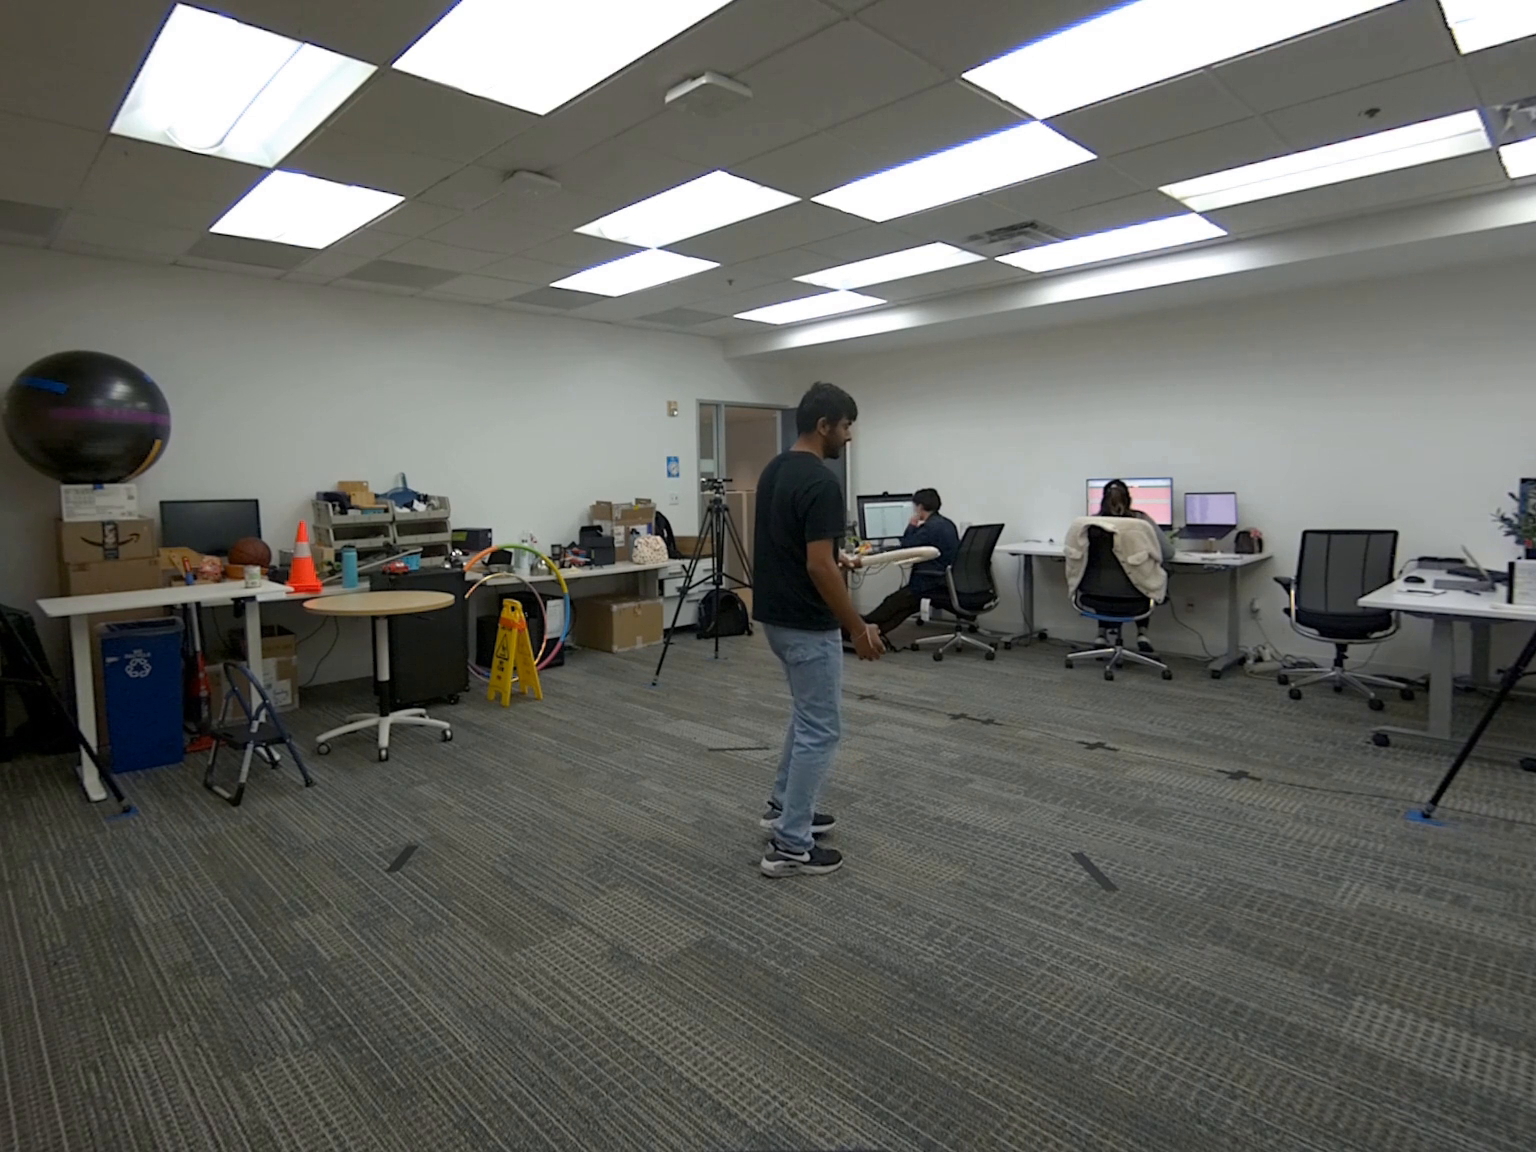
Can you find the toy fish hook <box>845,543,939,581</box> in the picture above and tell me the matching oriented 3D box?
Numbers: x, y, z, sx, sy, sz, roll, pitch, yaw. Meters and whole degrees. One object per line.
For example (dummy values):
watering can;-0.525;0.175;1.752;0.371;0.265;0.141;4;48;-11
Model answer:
toy fish hook;0.429;-0.047;3.520;0.513;0.049;0.218;-8;-15;15
